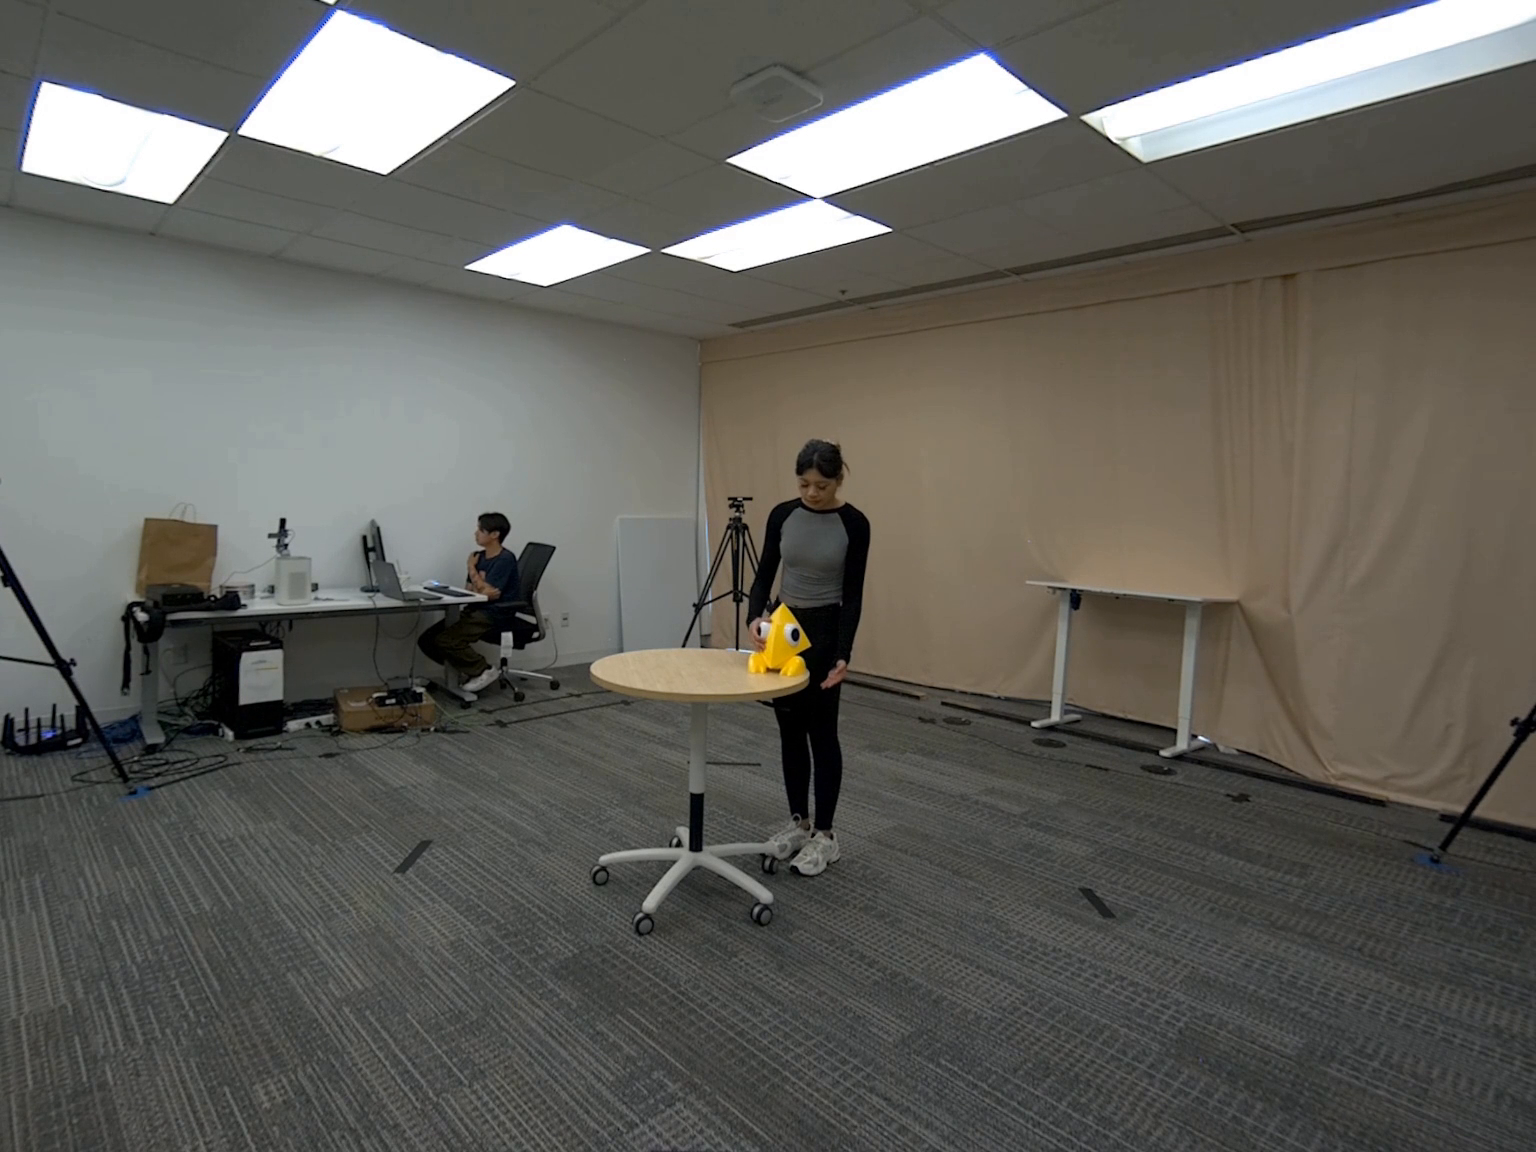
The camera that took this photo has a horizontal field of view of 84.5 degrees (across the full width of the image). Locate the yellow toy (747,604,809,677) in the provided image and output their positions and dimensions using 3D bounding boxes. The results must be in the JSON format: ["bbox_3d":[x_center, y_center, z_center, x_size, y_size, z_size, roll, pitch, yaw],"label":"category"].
[{"bbox_3d":[0.024,0.219,2.961,0.207,0.230,0.191,3,4,15],"label":"yellow toy"}]
